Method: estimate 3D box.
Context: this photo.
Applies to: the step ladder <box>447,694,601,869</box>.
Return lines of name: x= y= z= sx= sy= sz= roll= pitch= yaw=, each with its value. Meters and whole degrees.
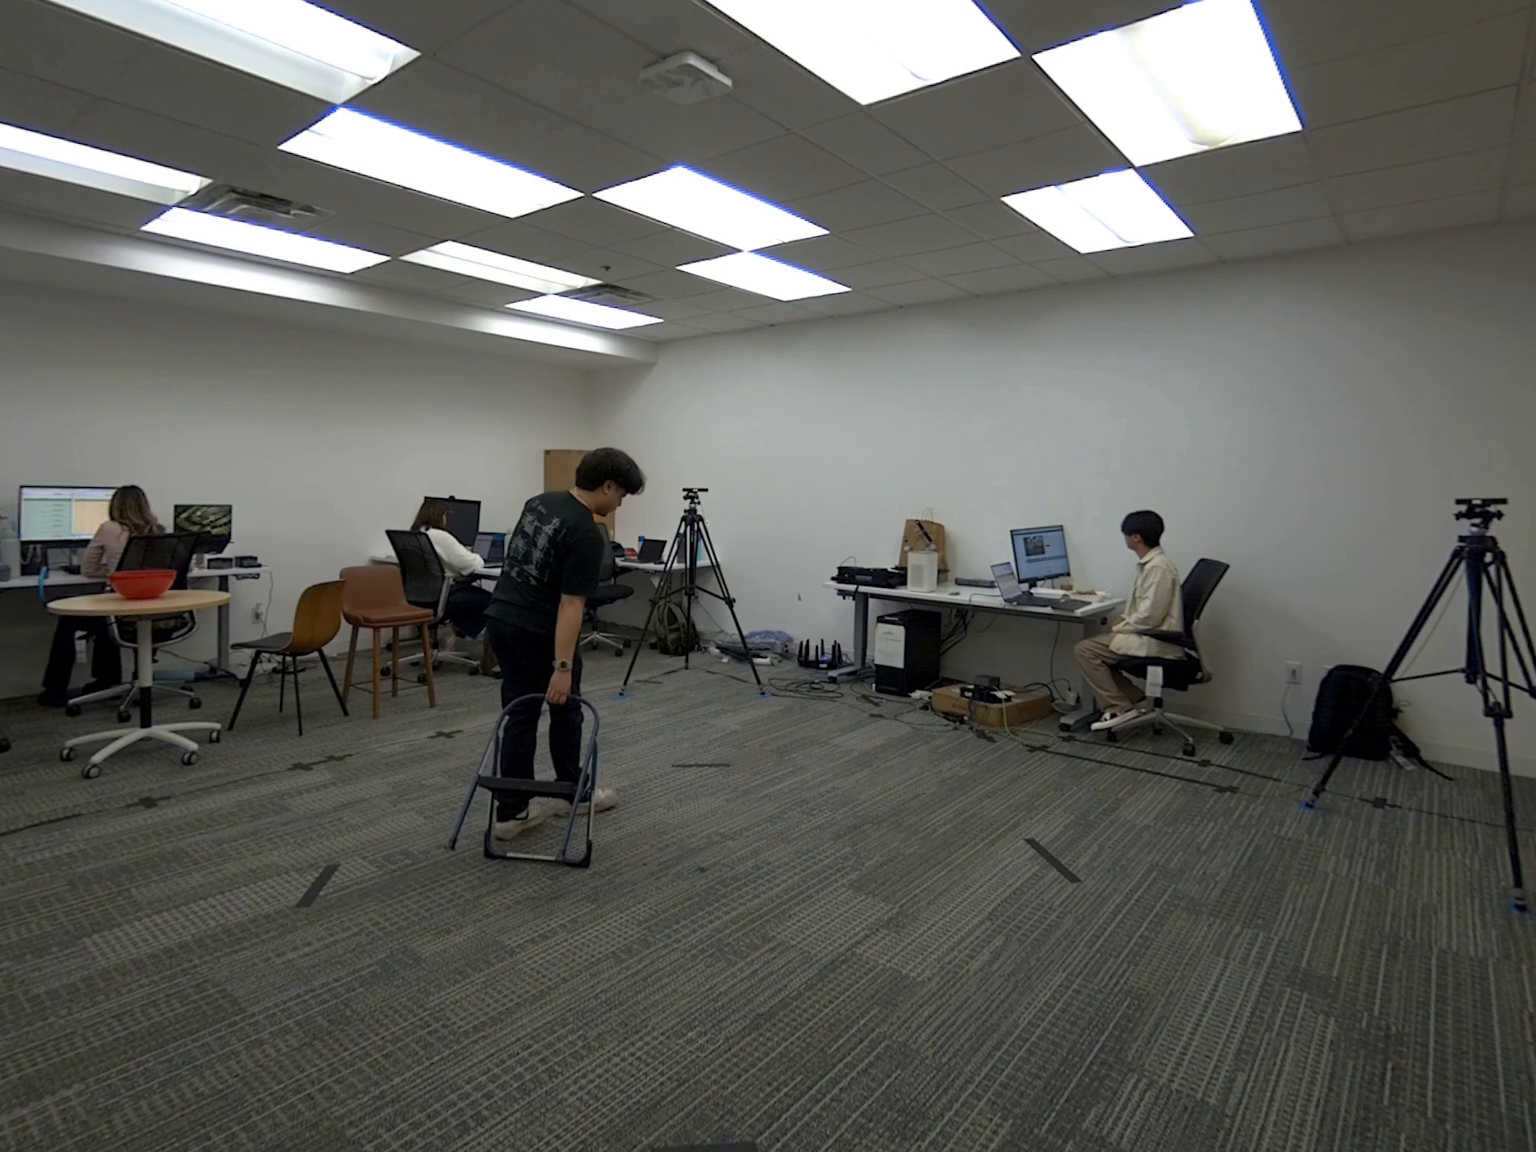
step ladder: x=-0.859 y=0.721 z=3.116 sx=0.435 sy=0.617 sz=0.339 roll=2 pitch=-23 yaw=8
